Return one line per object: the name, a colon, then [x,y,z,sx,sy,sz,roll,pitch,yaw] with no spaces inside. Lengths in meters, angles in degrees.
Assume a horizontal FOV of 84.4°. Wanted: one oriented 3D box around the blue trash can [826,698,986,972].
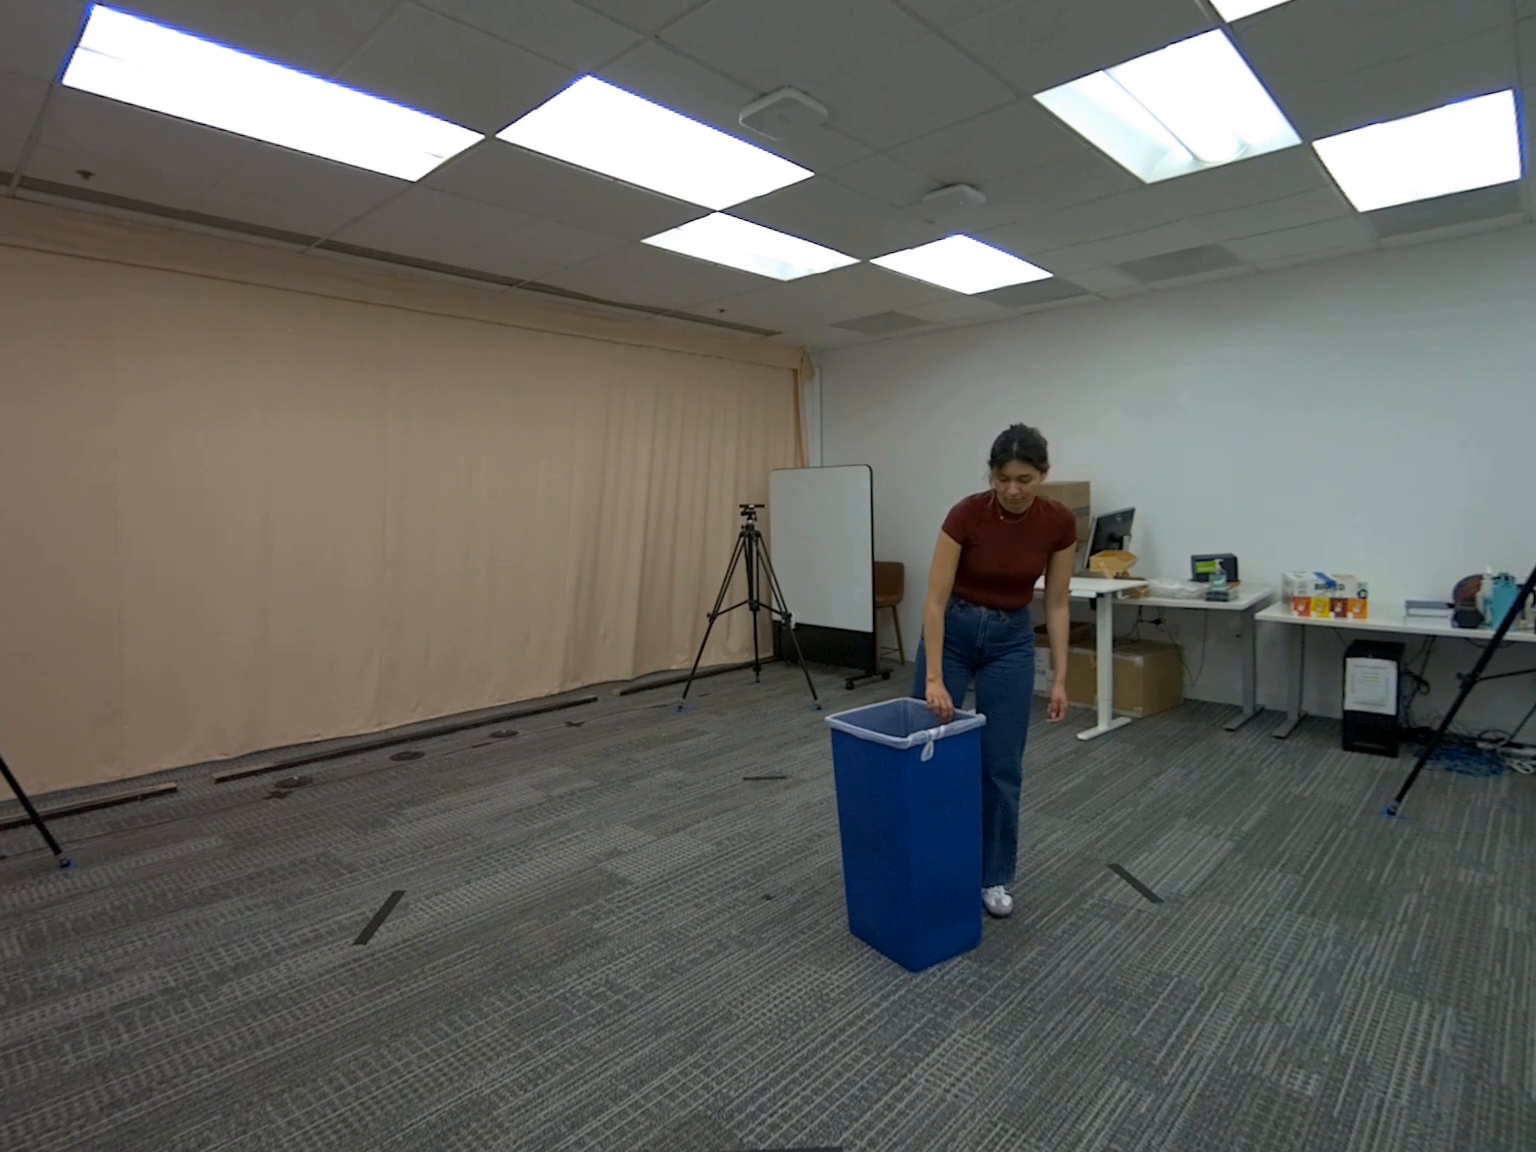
blue trash can: [0.440,0.795,2.658,0.368,0.711,0.385,-6,5,-34]
